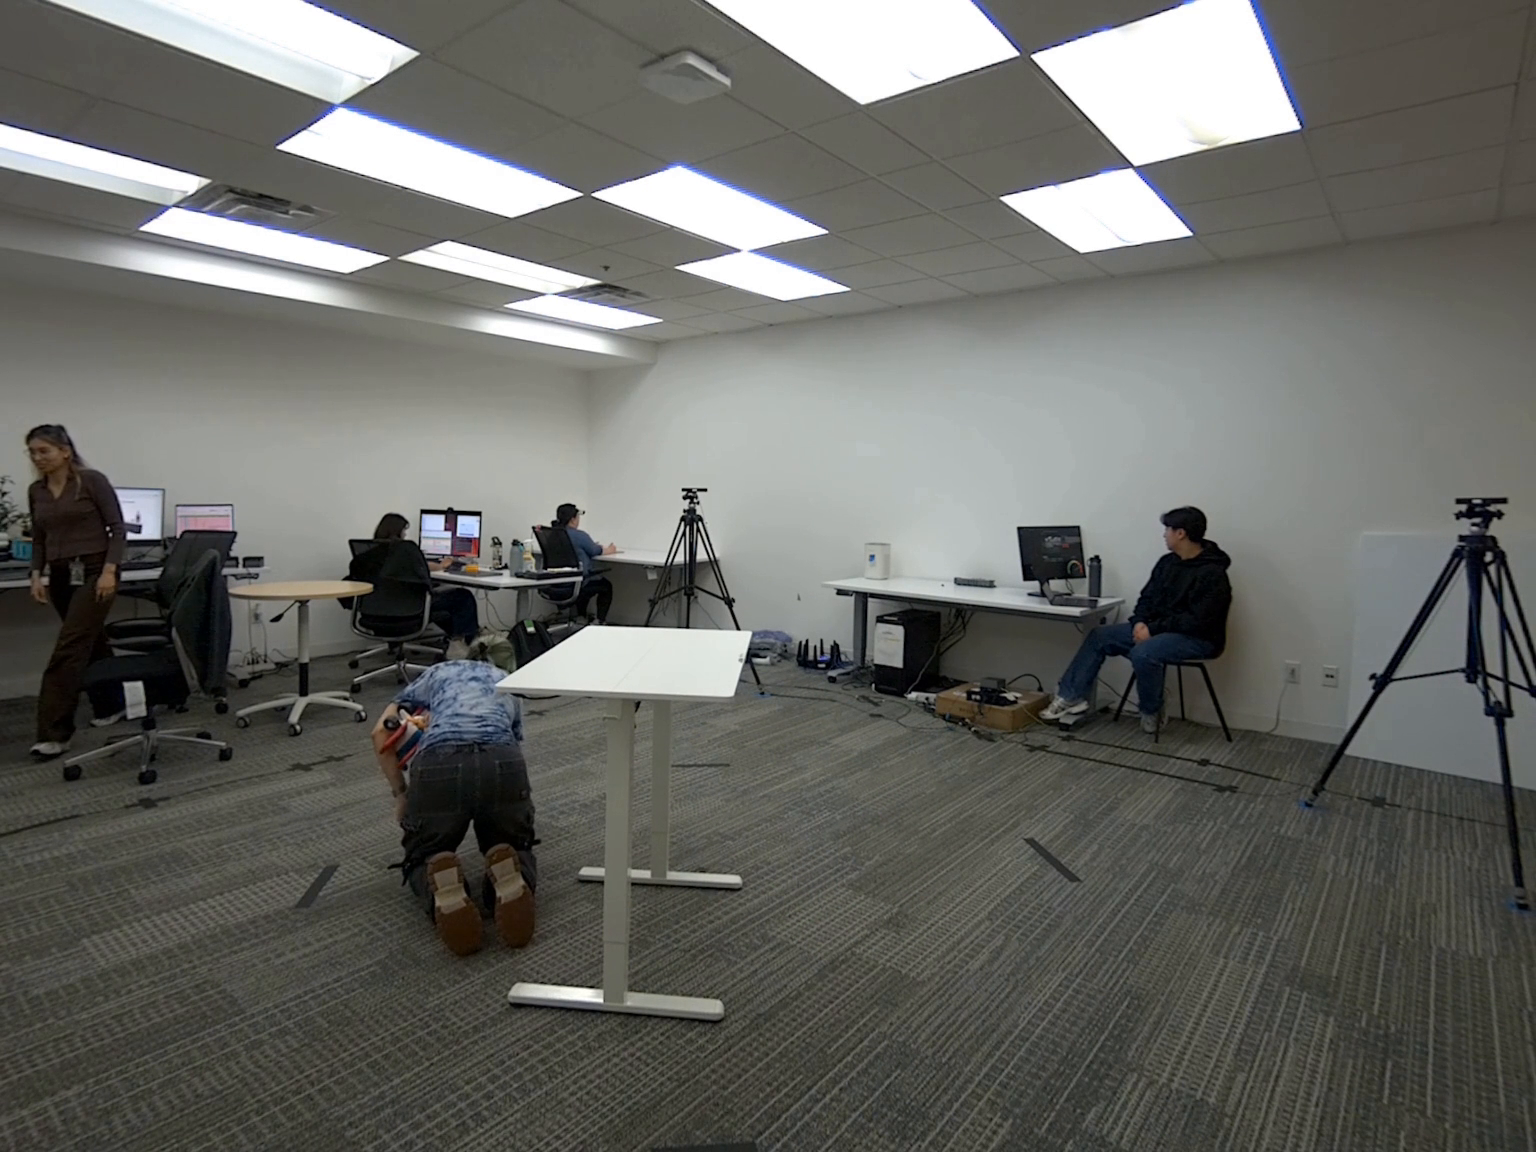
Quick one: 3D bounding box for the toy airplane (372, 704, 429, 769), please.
[{"bbox_3d":[-1.304,0.561,3.024,0.156,0.253,0.258,33,-36,-5],"label":"toy airplane"}]
